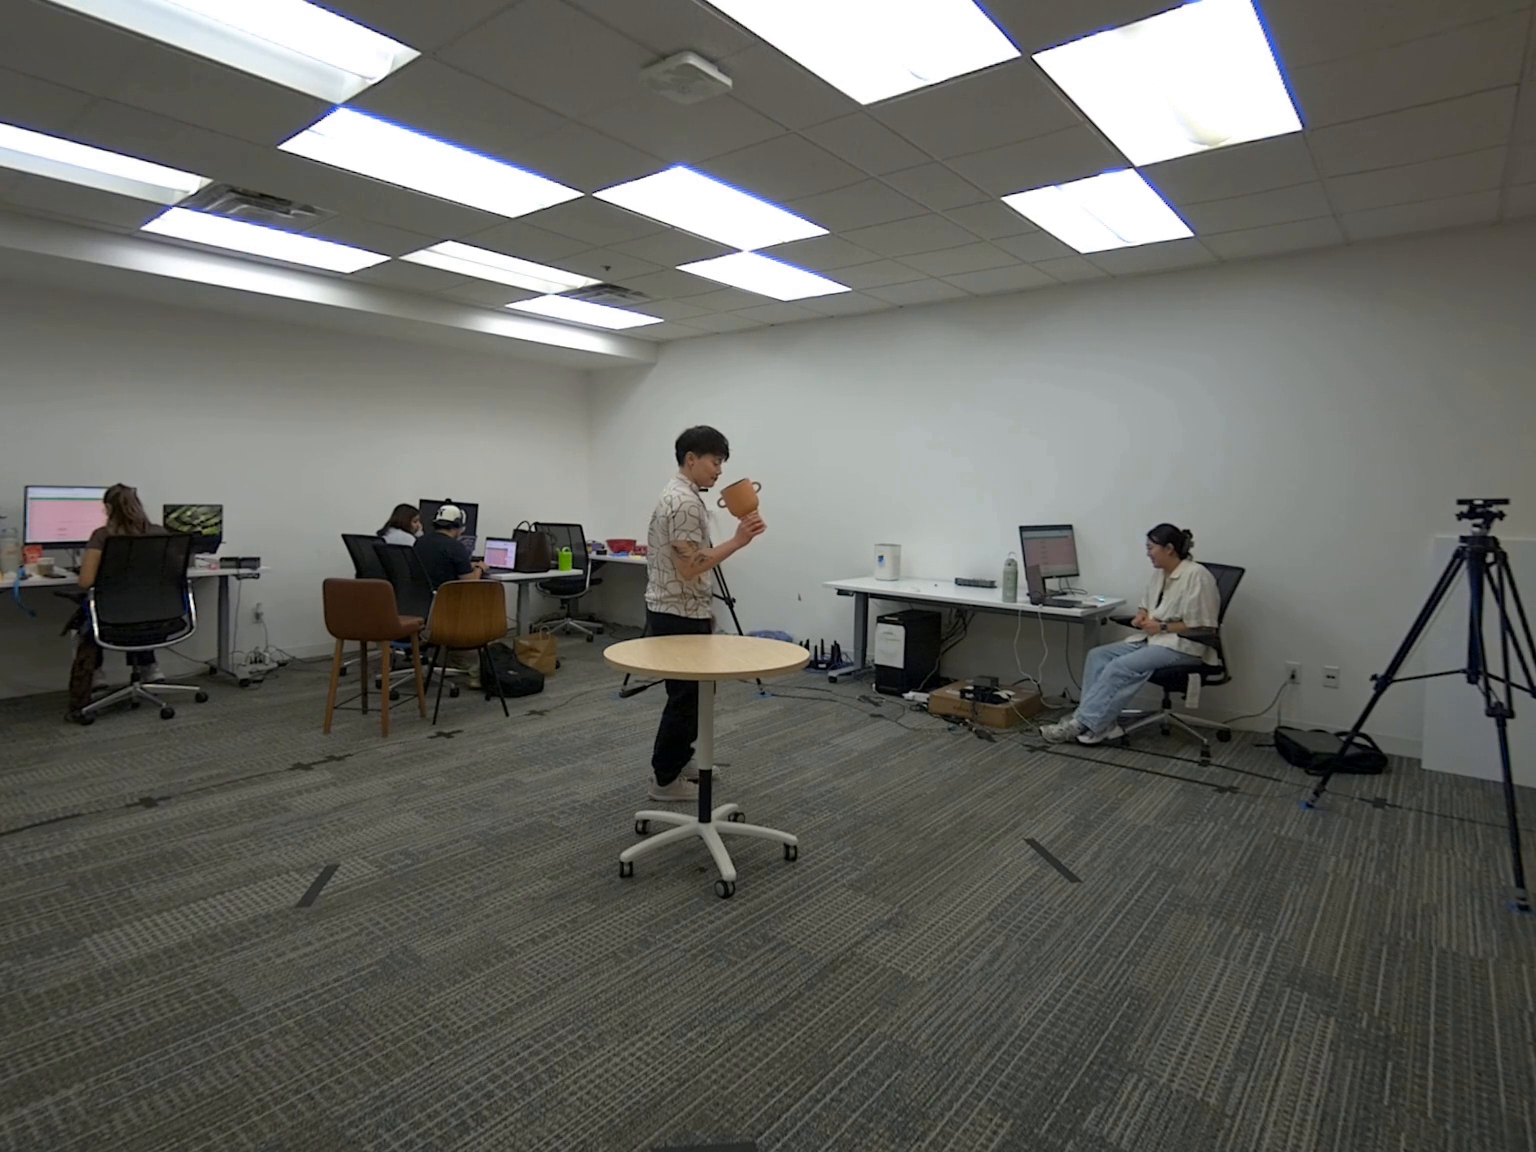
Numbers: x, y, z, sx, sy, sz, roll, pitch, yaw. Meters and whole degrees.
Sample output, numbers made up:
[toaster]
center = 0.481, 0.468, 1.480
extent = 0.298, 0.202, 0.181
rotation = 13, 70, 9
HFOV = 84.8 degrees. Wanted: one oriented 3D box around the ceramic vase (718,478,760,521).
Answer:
[ceramic vase]
center = -0.109, -0.285, 3.530
extent = 0.162, 0.218, 0.133
rotation = -17, 11, 45
